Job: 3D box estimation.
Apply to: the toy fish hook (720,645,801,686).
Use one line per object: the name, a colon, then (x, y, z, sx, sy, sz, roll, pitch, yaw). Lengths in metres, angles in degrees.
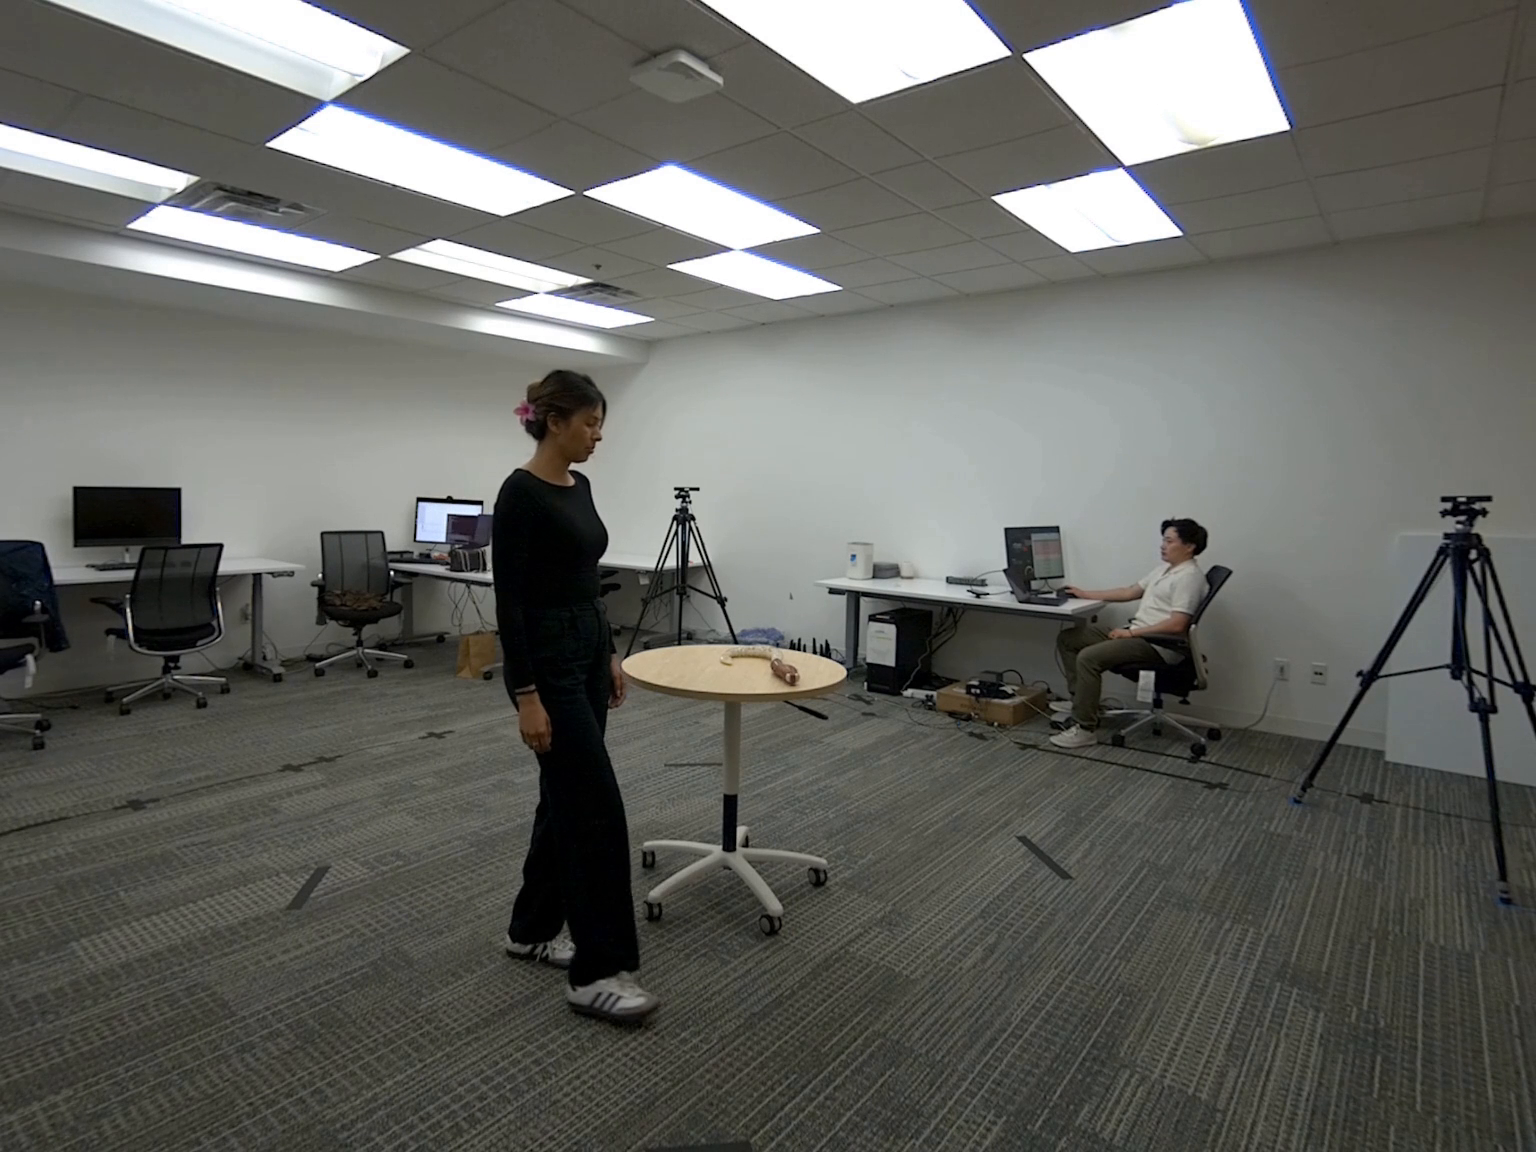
toy fish hook: (-0.038, 0.303, 2.861, 0.222, 0.048, 0.515, -9, 7, -12)
